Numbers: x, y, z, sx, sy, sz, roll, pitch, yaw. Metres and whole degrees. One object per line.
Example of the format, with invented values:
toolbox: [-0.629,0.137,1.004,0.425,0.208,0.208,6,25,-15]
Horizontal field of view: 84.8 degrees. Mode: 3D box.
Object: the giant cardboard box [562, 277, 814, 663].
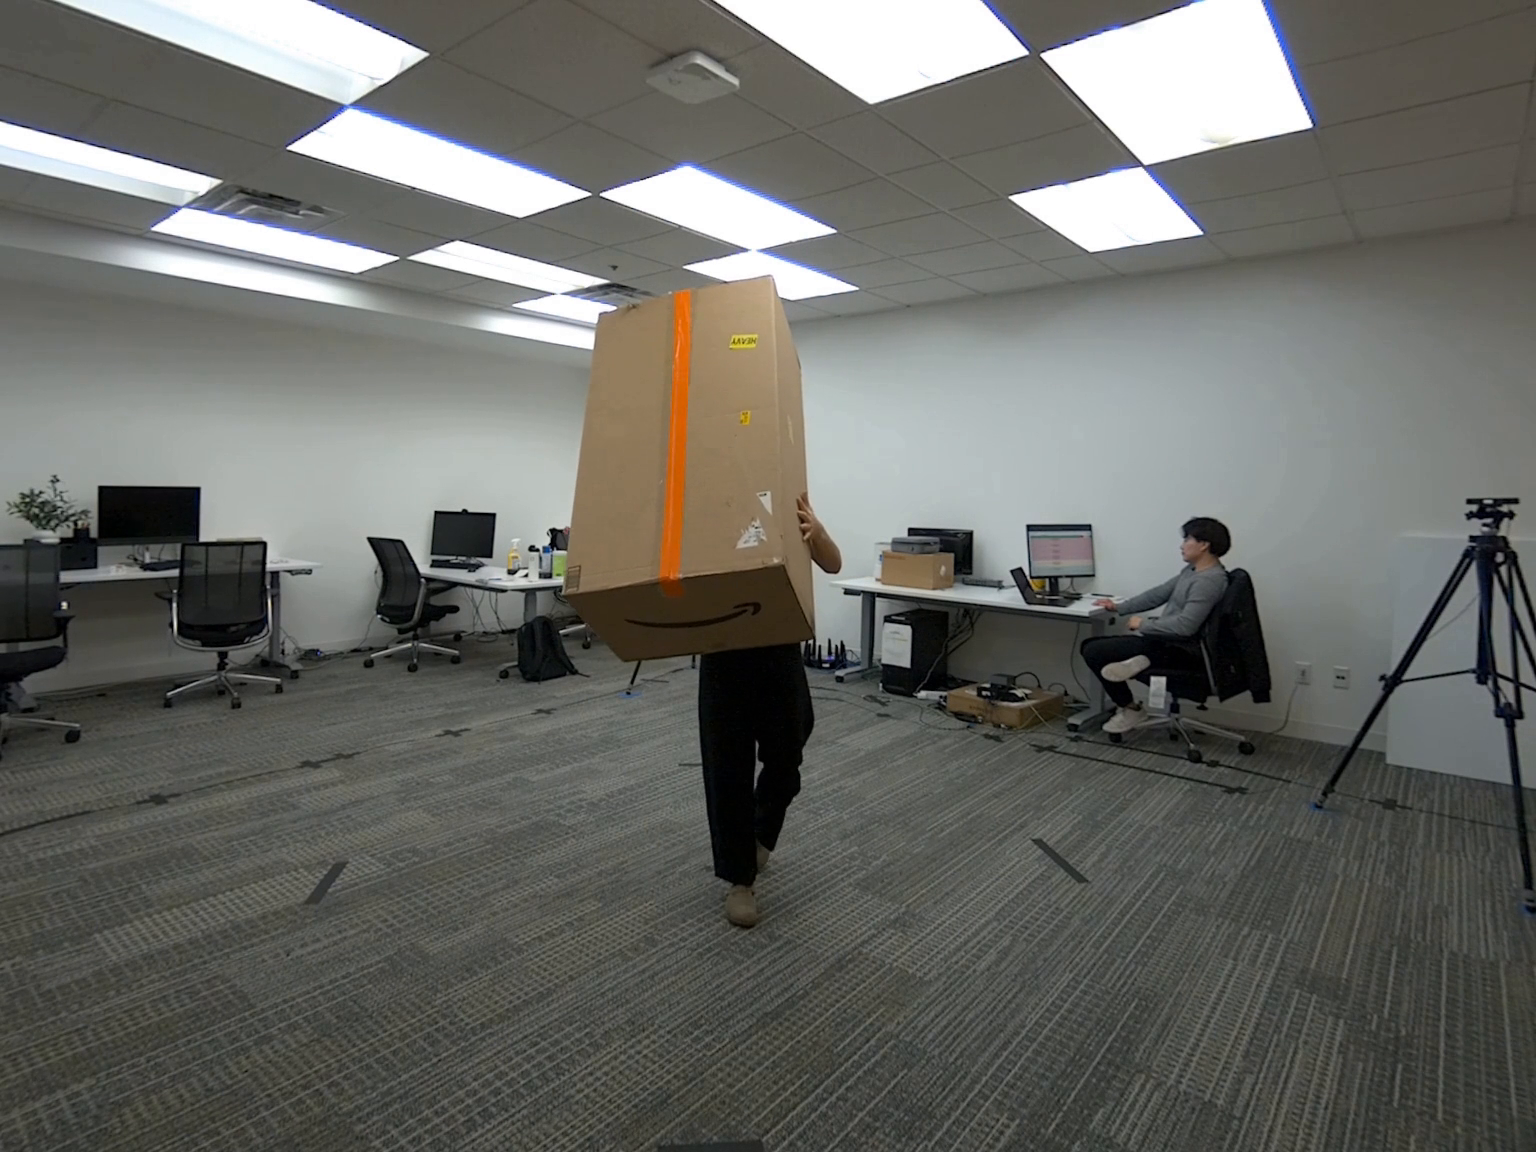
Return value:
giant cardboard box: [-0.213,-0.321,2.517,0.585,1.053,0.410,-9,-32,13]
